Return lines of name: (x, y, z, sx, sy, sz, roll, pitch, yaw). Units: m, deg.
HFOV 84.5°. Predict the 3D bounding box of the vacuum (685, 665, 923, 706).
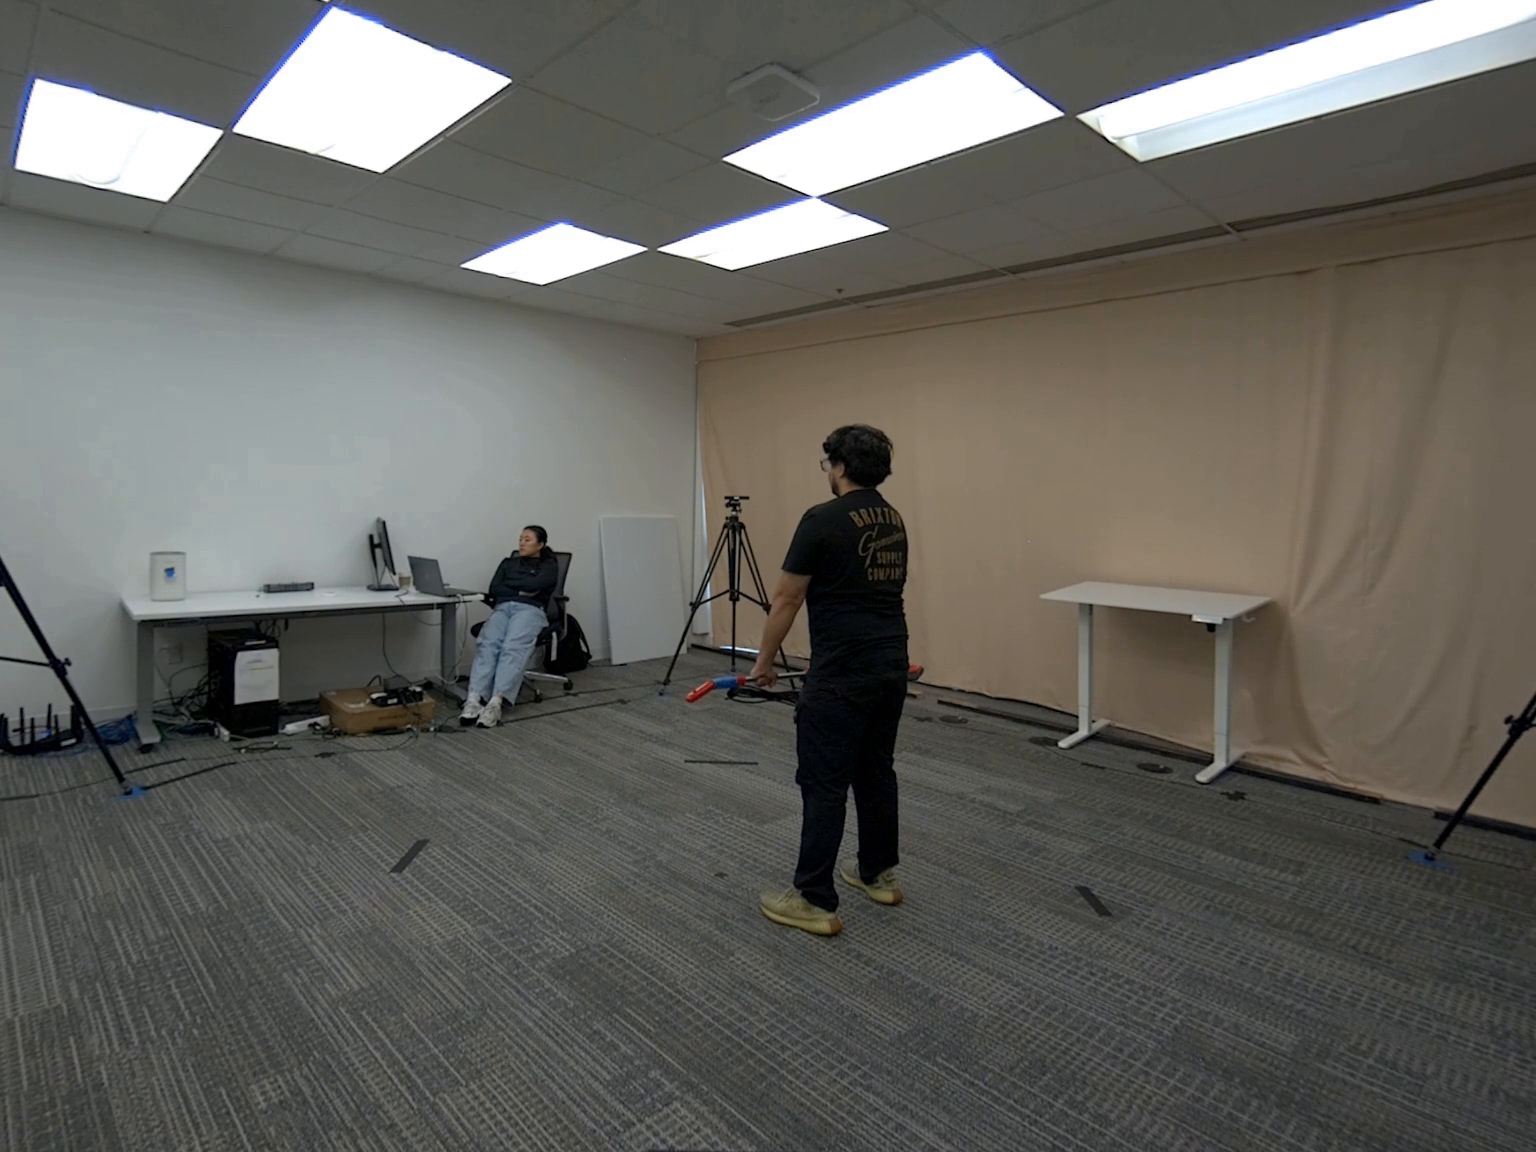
vacuum: (0.107, 0.400, 3.044, 1.024, 0.143, 0.260, 0, 11, -41)
